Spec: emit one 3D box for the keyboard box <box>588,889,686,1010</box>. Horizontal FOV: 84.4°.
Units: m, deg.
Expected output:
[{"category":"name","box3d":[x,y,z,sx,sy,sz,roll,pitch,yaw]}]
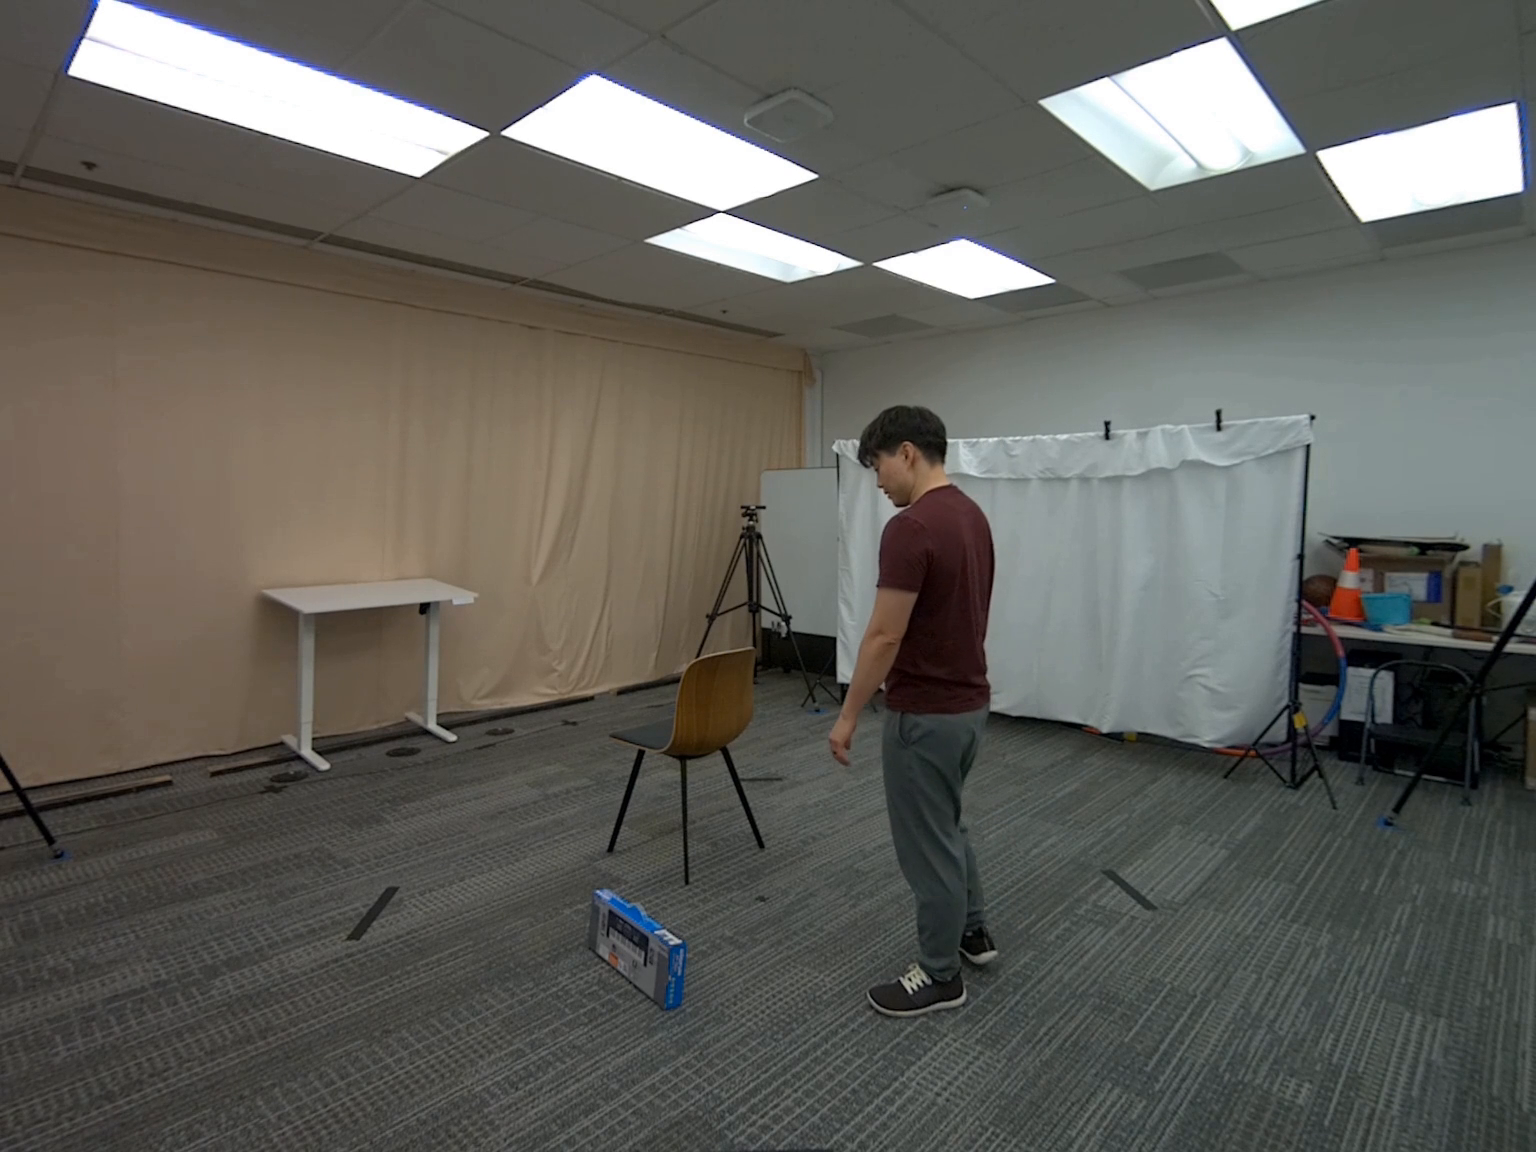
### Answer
[{"category":"keyboard box","box3d":[-0.402,1.096,2.505,0.057,0.176,0.451,6,0,-39]}]
